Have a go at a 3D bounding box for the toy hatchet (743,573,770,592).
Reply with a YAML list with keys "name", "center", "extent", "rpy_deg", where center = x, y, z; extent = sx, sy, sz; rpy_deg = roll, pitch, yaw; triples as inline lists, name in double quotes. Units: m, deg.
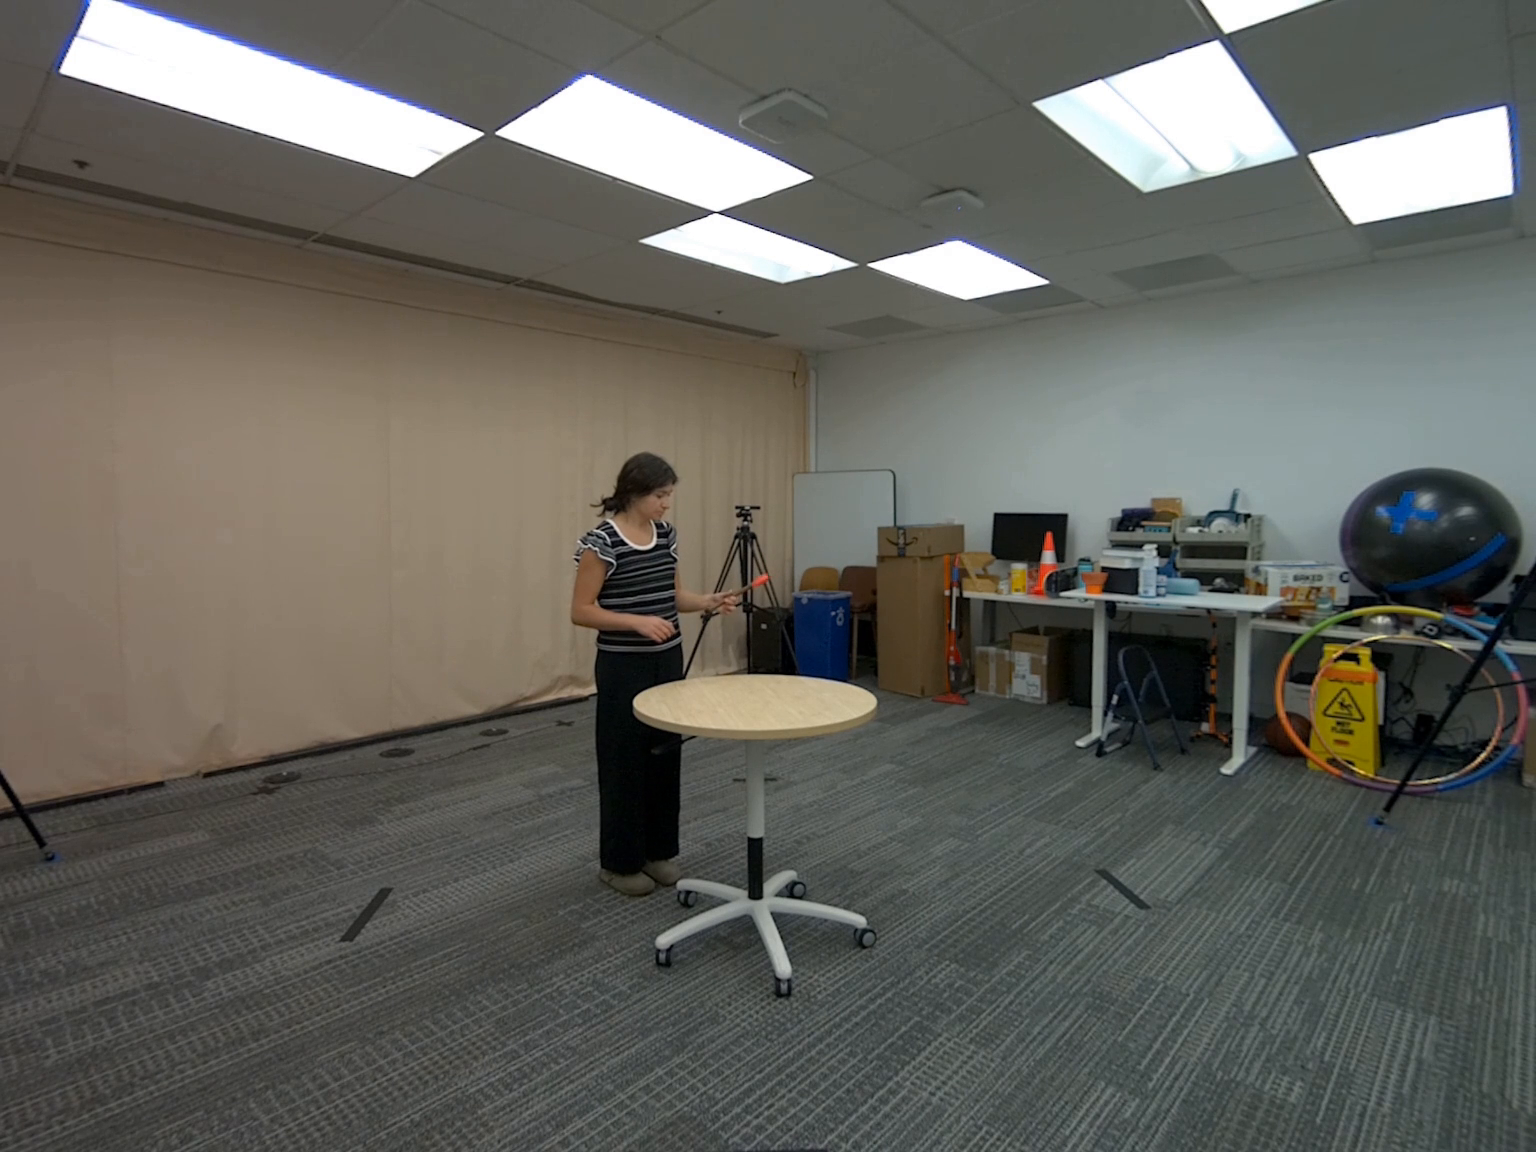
- name: "toy hatchet"
  center: [-0.111, 0.053, 3.011]
  extent: [0.265, 0.029, 0.133]
  rpy_deg: [-24, 3, -28]
